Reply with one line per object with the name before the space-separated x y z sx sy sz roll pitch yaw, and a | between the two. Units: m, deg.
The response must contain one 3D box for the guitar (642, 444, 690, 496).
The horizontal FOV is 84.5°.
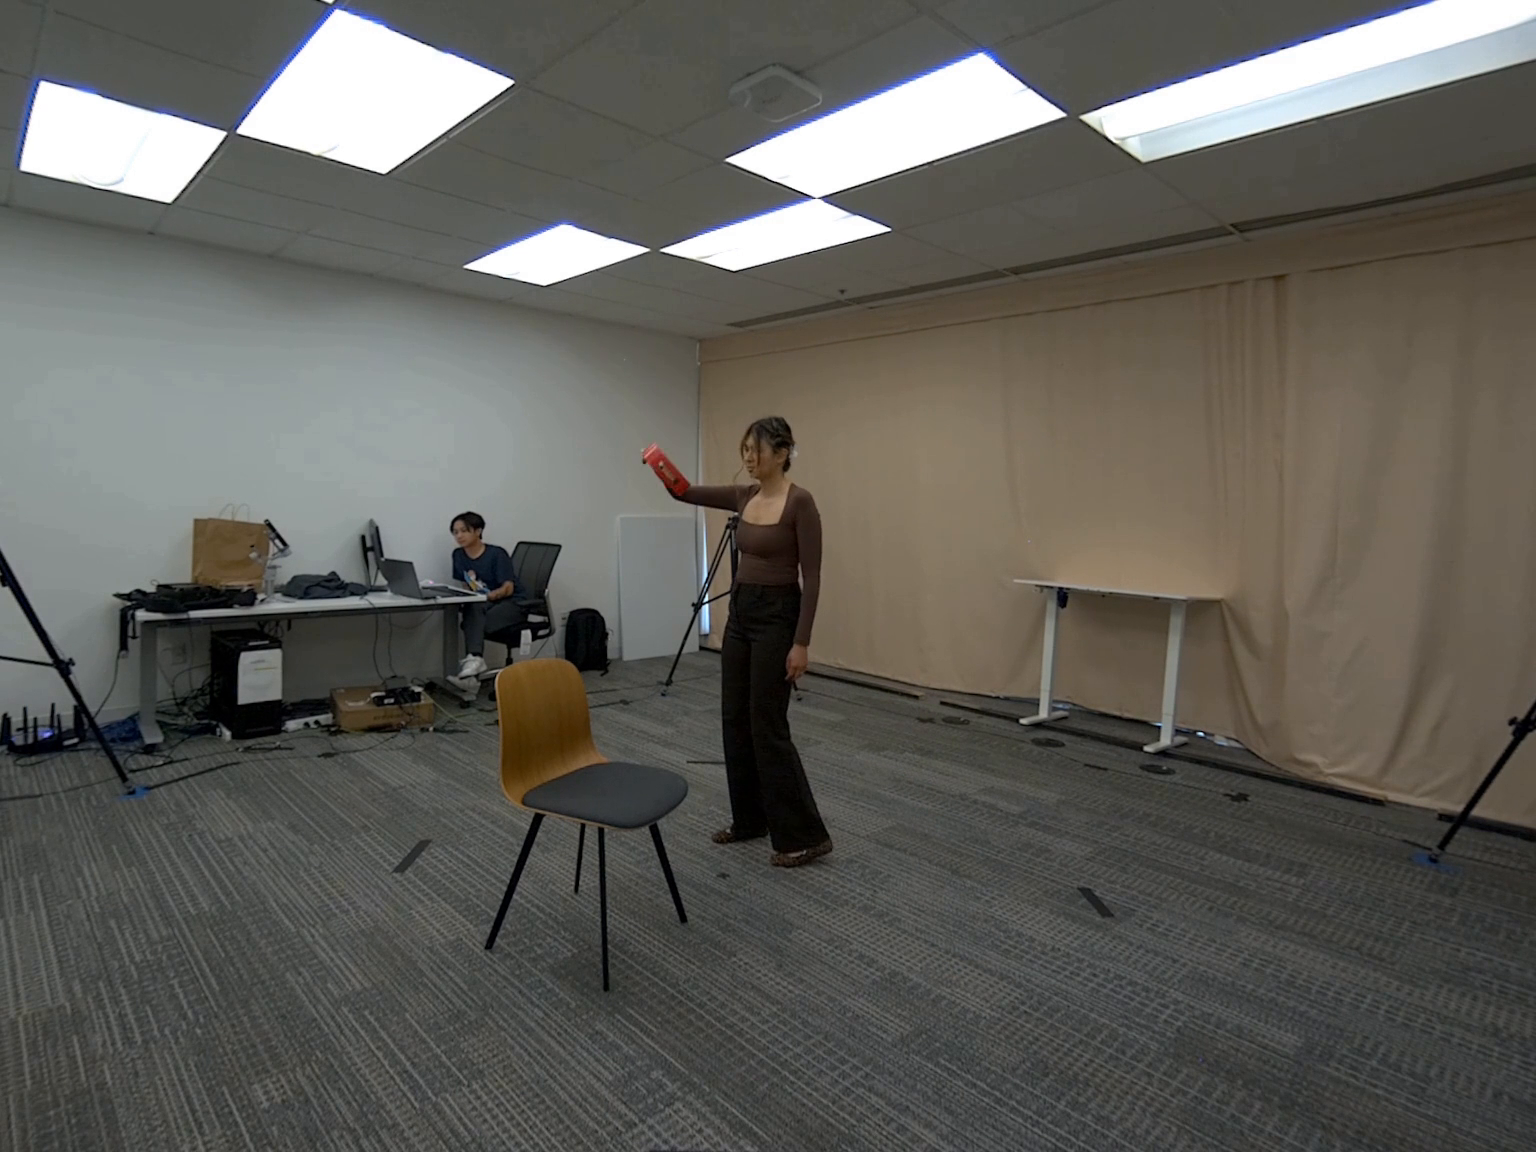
guitar | -0.417 -0.437 3.115 0.188 0.071 0.511 47 1 -30
